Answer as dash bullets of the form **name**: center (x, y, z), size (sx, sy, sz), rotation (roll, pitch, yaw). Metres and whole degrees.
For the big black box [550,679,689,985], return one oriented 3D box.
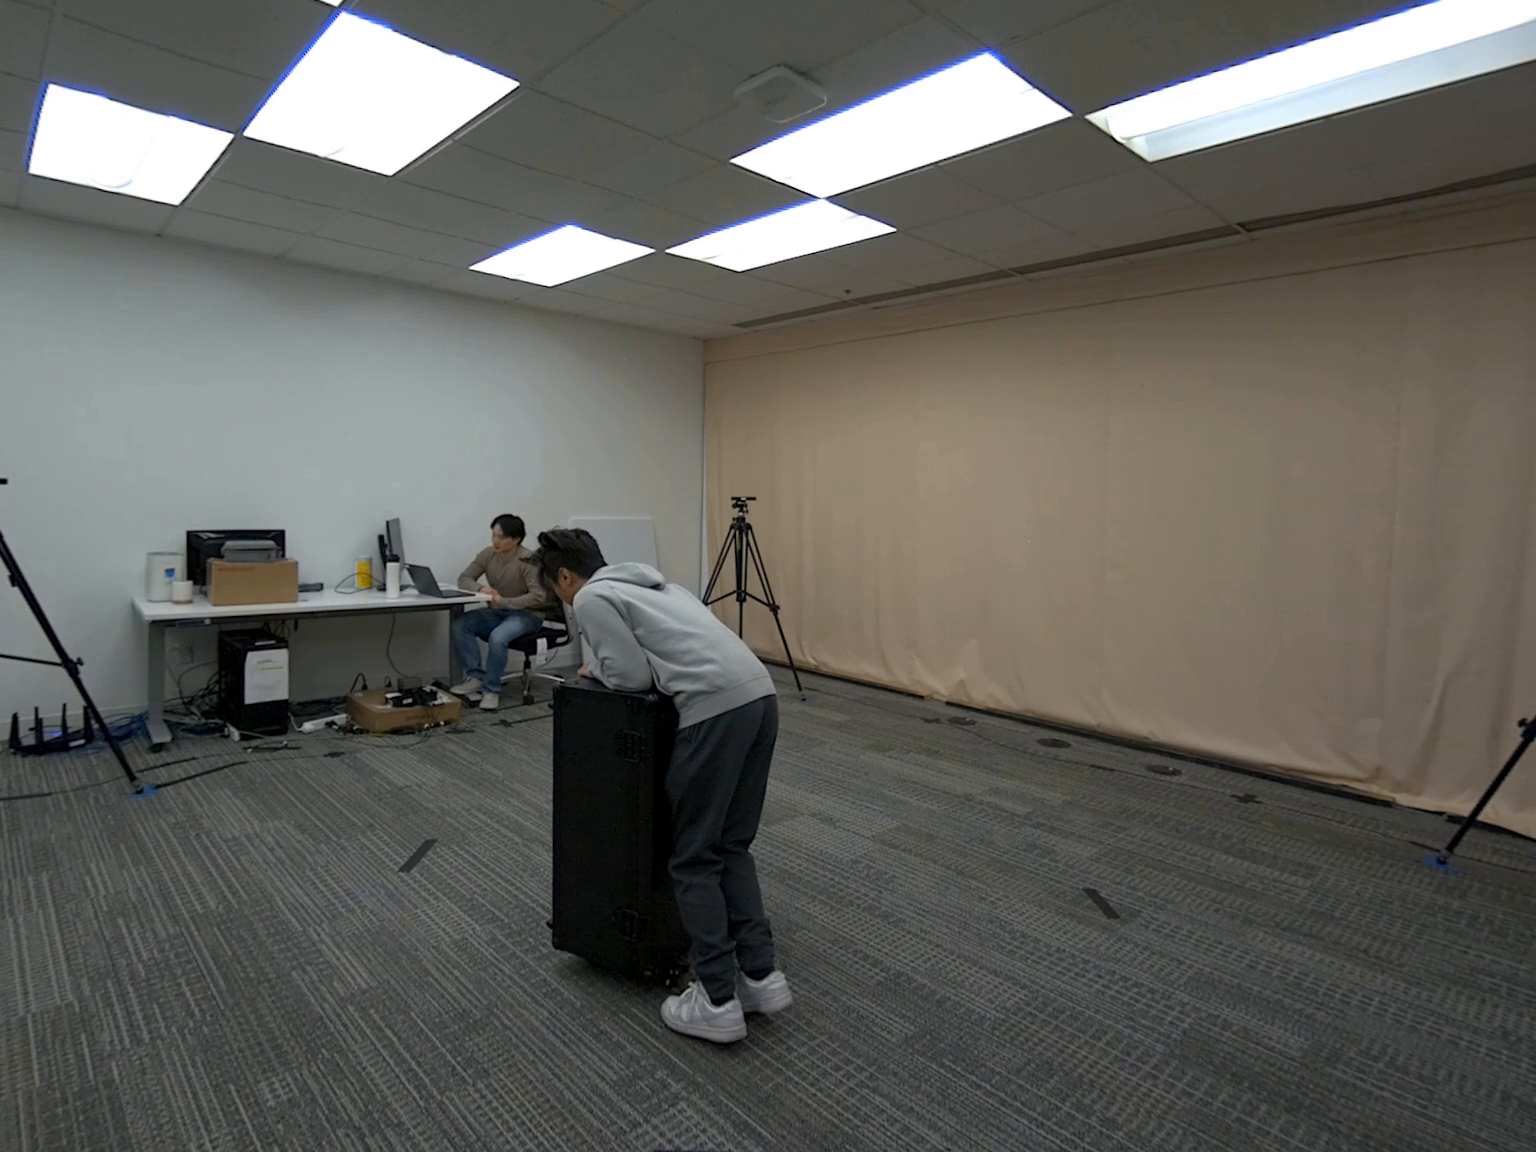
- **big black box**: center (-0.379, 0.732, 2.564), size (0.404, 0.860, 0.511), rotation (1, 3, 28)
